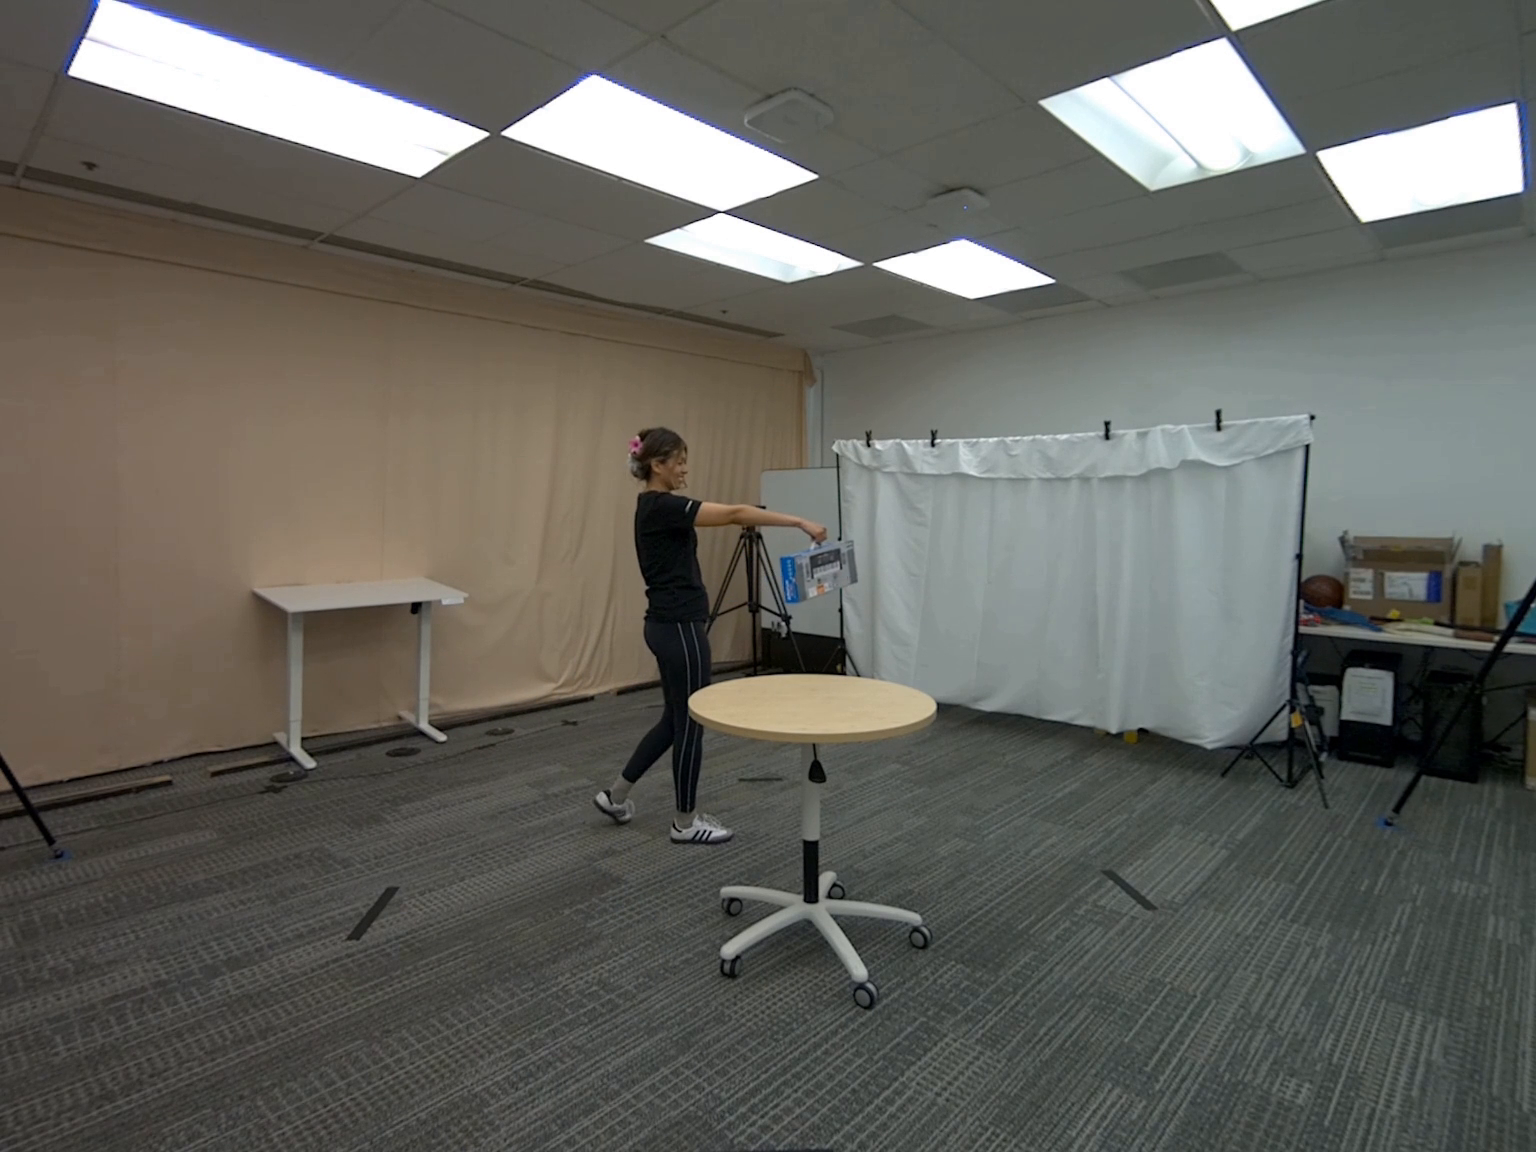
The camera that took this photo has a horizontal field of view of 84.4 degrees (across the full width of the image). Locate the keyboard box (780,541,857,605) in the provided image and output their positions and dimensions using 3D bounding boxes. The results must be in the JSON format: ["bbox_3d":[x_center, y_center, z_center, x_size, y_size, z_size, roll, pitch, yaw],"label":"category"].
[{"bbox_3d":[0.201,-0.017,3.222,0.061,0.175,0.425,-2,9,37],"label":"keyboard box"}]
